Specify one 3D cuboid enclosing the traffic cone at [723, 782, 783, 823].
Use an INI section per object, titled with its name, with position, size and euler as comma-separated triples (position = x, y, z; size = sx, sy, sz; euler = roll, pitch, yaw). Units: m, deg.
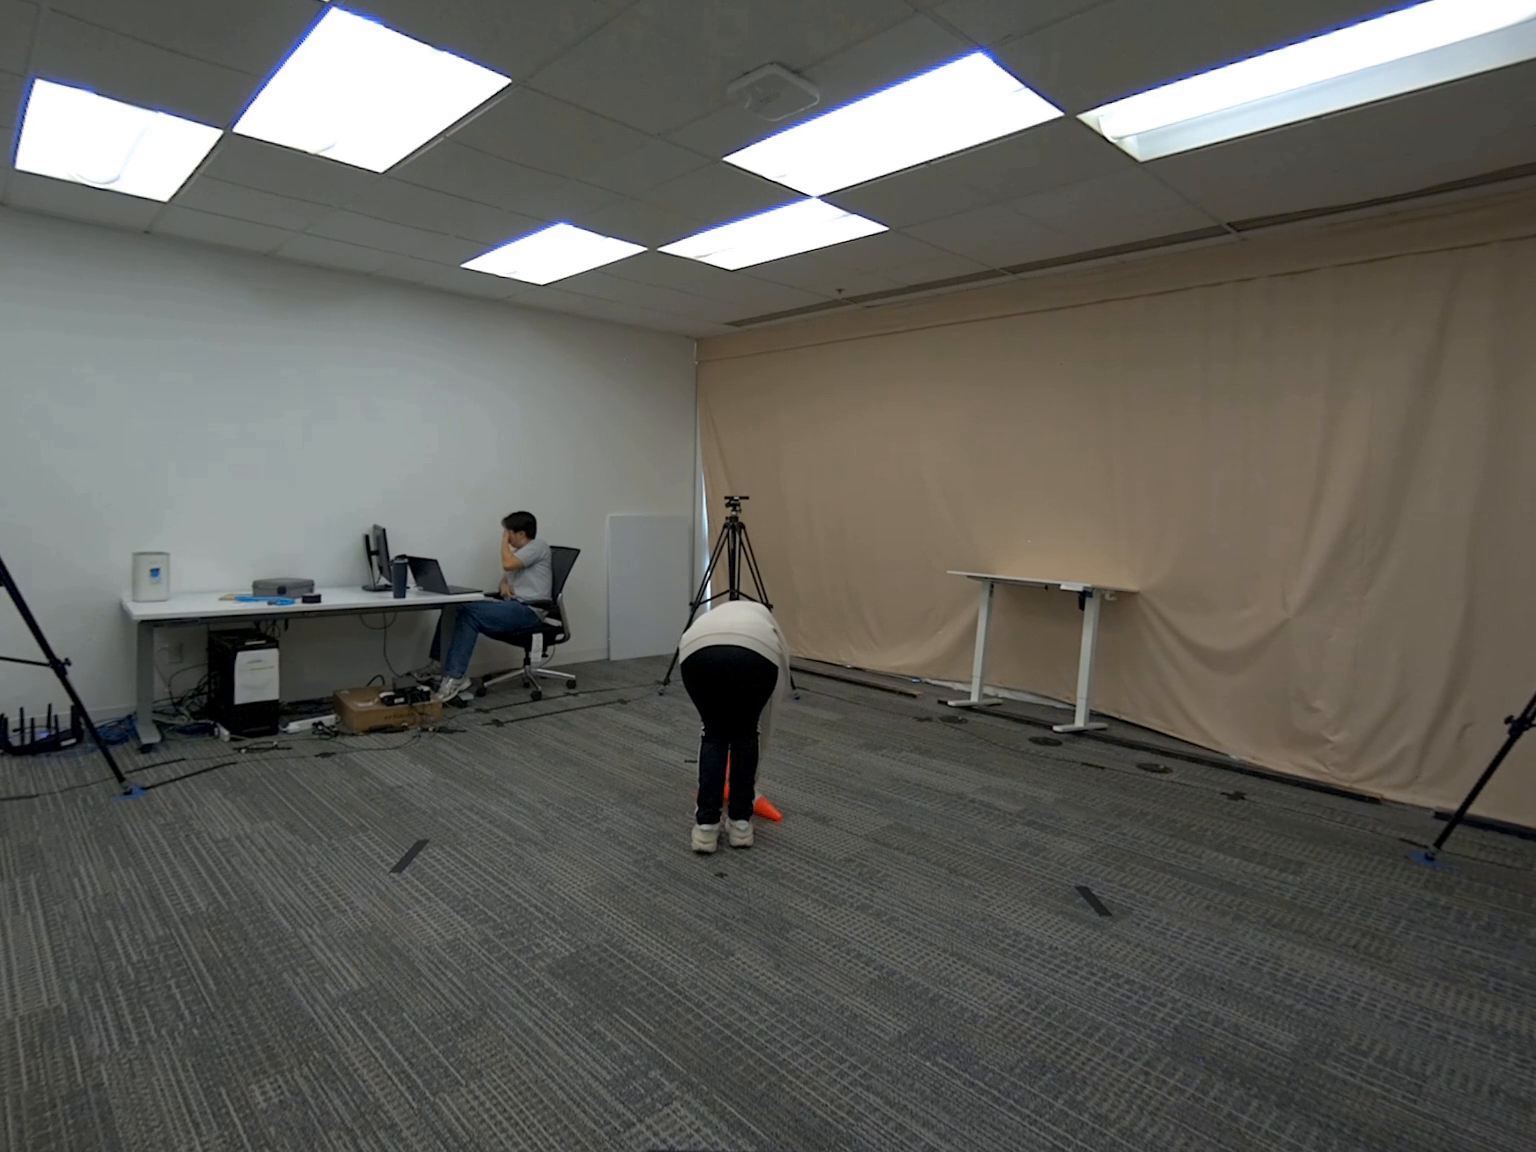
[traffic cone]
position = -0.092, 0.990, 3.760
size = 0.395, 0.203, 0.198
euler = 25, -7, 39
